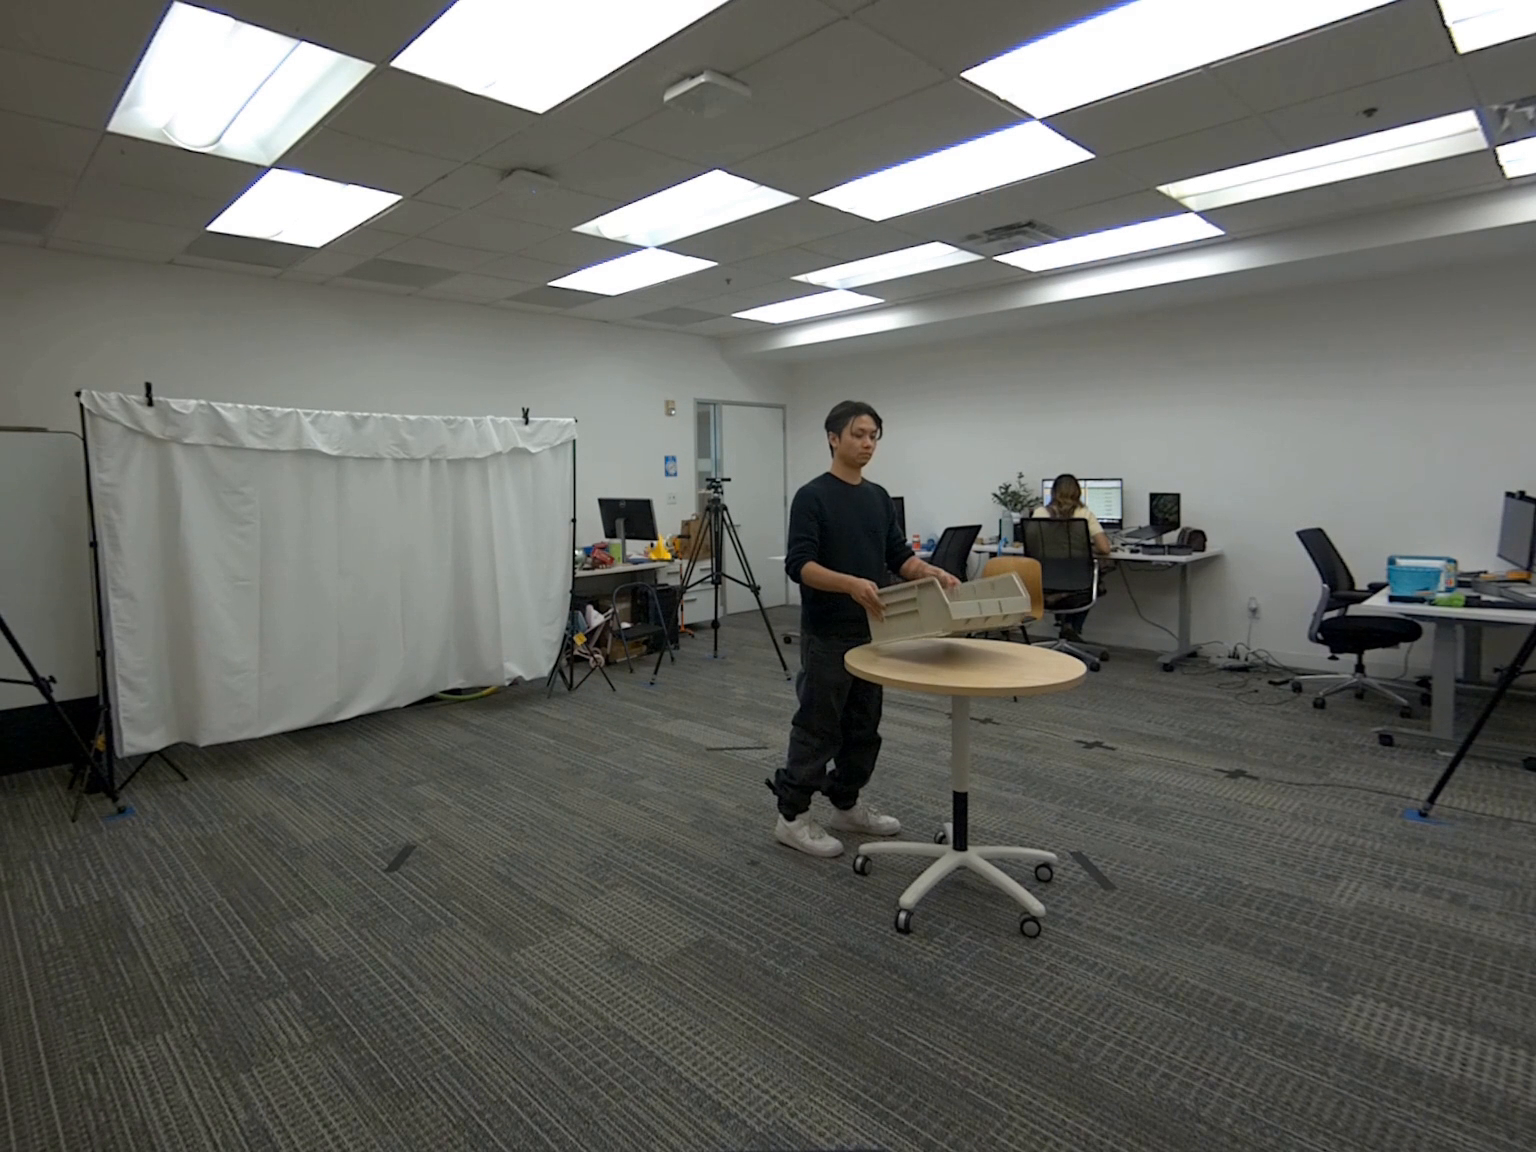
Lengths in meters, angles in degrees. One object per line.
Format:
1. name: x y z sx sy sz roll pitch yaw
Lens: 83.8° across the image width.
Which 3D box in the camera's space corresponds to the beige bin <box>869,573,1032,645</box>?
1. beige bin: 0.596 0.109 2.889 0.411 0.191 0.383 -4 -10 -36
